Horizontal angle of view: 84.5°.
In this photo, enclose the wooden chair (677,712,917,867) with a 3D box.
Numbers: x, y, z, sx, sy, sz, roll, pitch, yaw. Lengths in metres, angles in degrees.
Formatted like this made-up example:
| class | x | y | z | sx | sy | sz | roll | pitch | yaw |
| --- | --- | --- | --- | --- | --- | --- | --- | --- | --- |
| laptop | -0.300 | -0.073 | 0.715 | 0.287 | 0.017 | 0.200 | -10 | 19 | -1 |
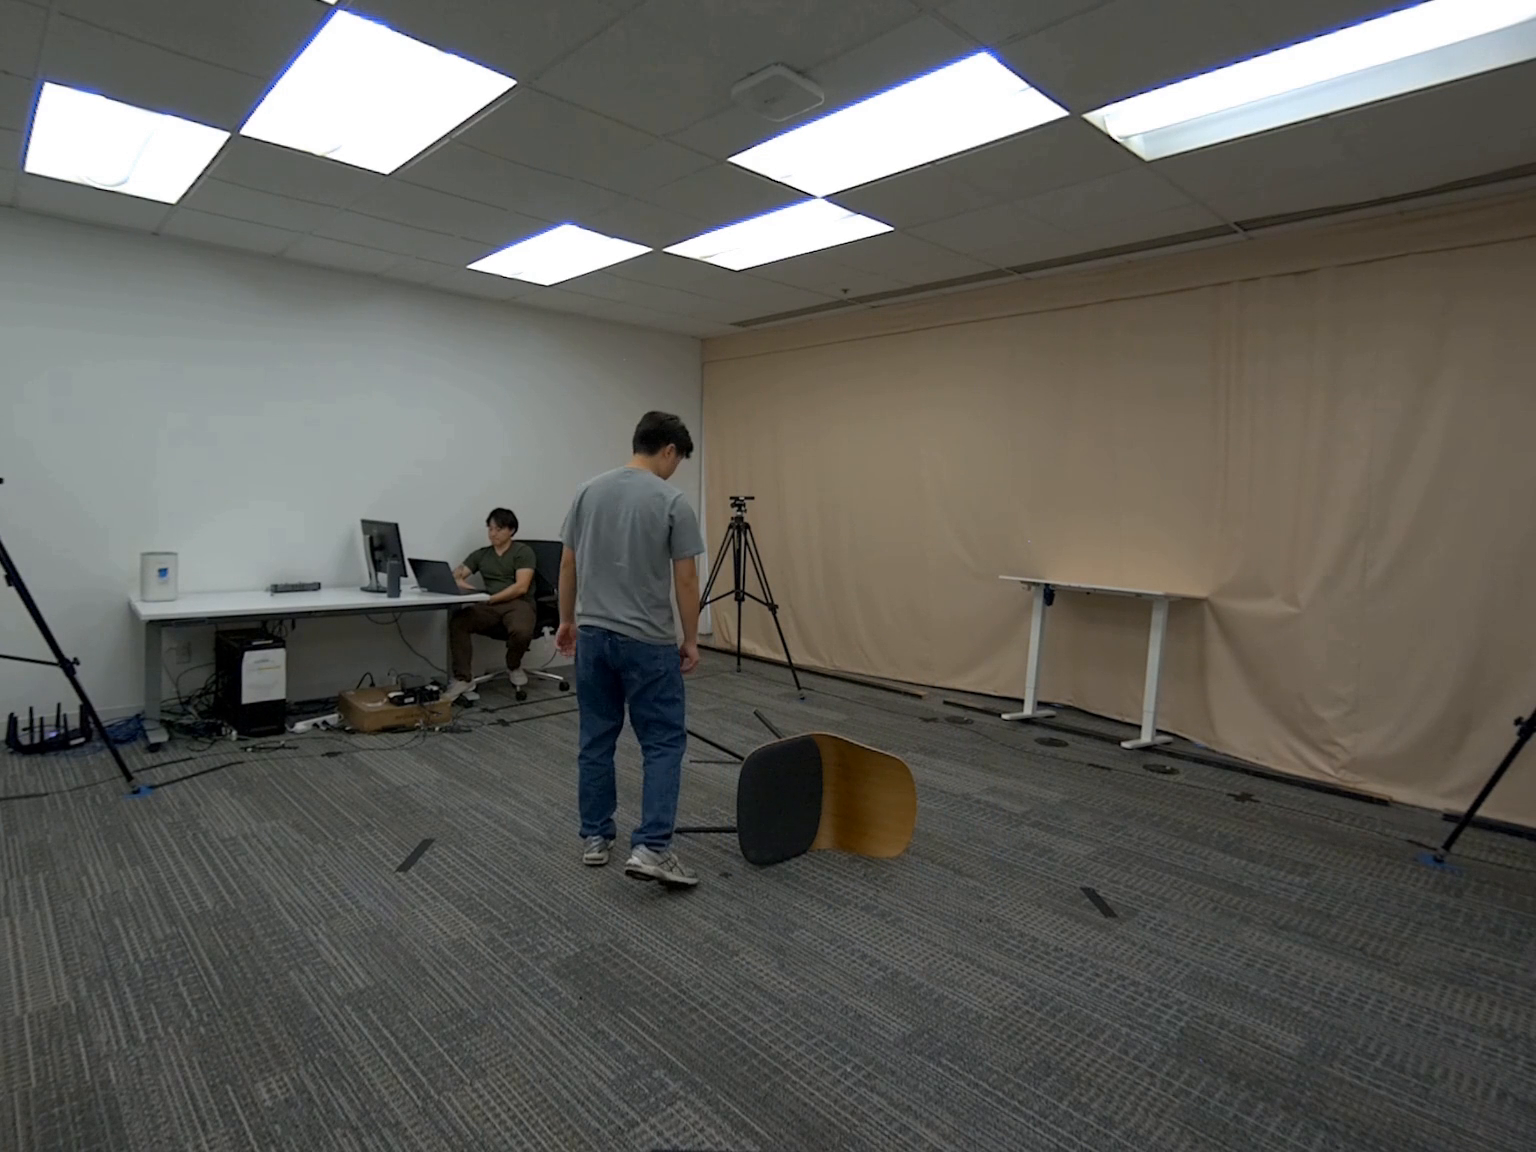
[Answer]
| class | x | y | z | sx | sy | sz | roll | pitch | yaw |
| --- | --- | --- | --- | --- | --- | --- | --- | --- | --- |
| wooden chair | 0.058 | 0.859 | 3.310 | 0.899 | 0.477 | 0.511 | 5 | 5 | 43 |
